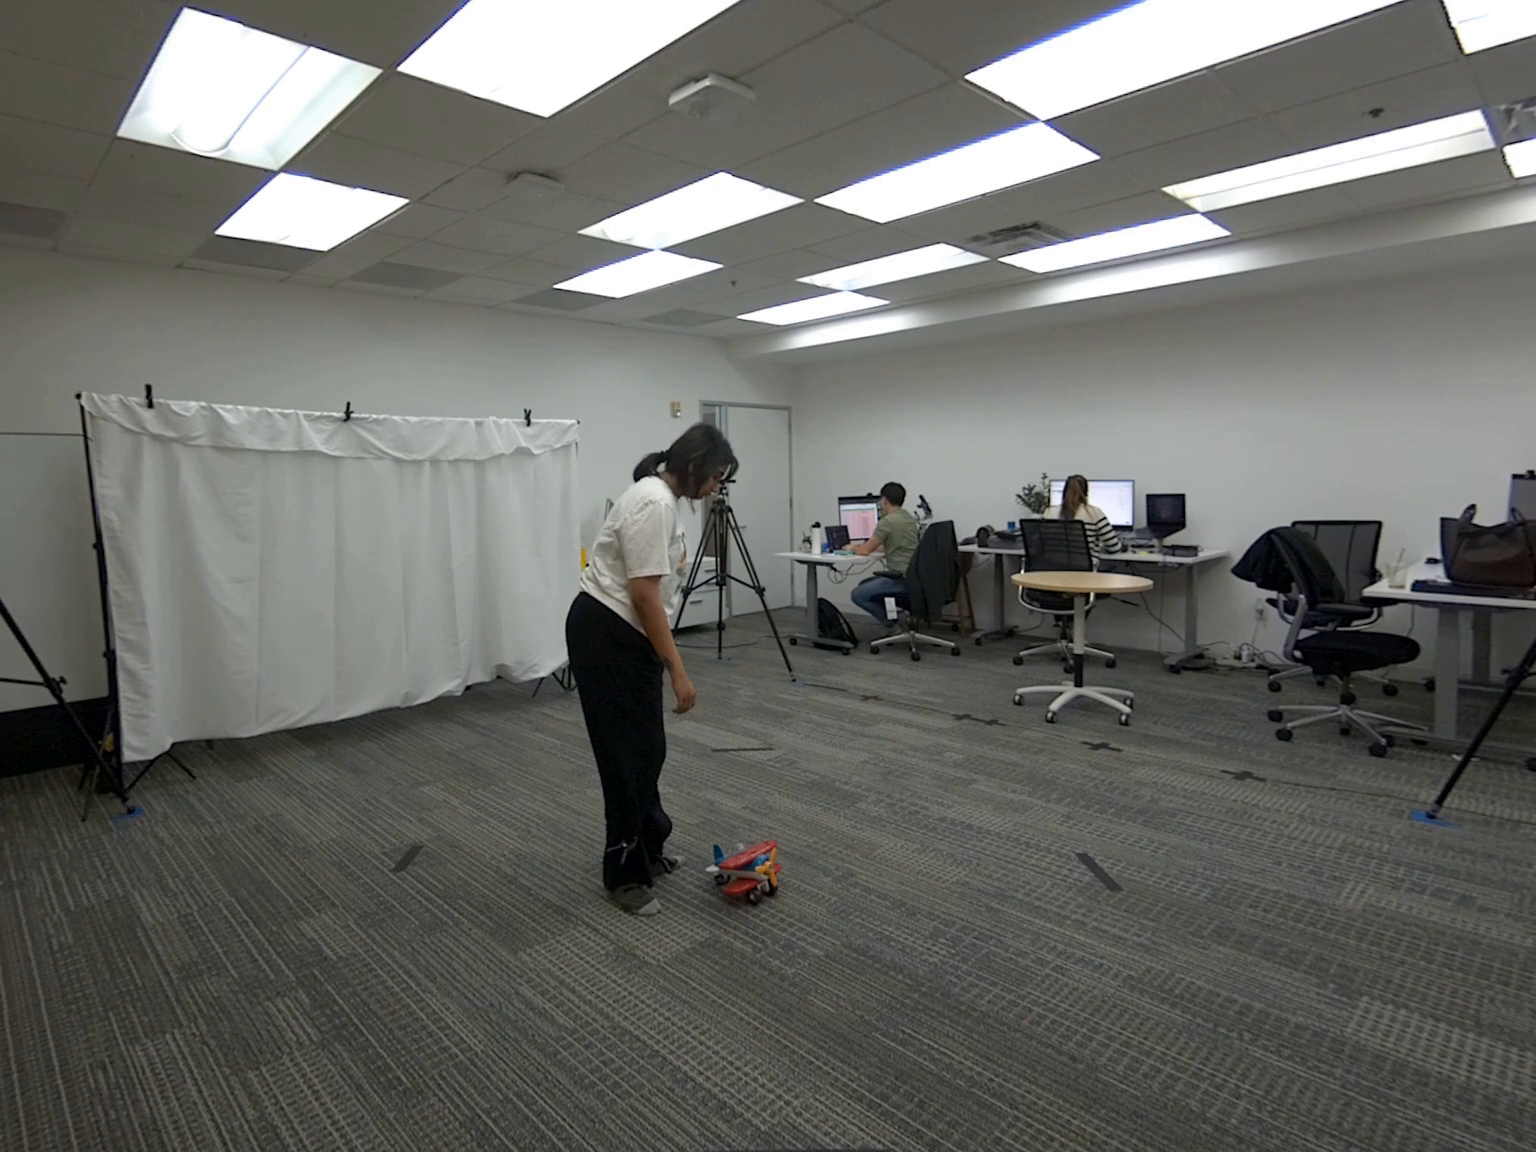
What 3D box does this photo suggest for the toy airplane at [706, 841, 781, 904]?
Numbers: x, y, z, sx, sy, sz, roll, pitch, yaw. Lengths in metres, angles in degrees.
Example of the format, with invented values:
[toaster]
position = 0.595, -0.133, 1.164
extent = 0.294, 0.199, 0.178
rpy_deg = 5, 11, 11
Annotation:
[toy airplane]
position = -0.097, 0.993, 2.882
extent = 0.263, 0.155, 0.249
rpy_deg = 1, 7, 13
